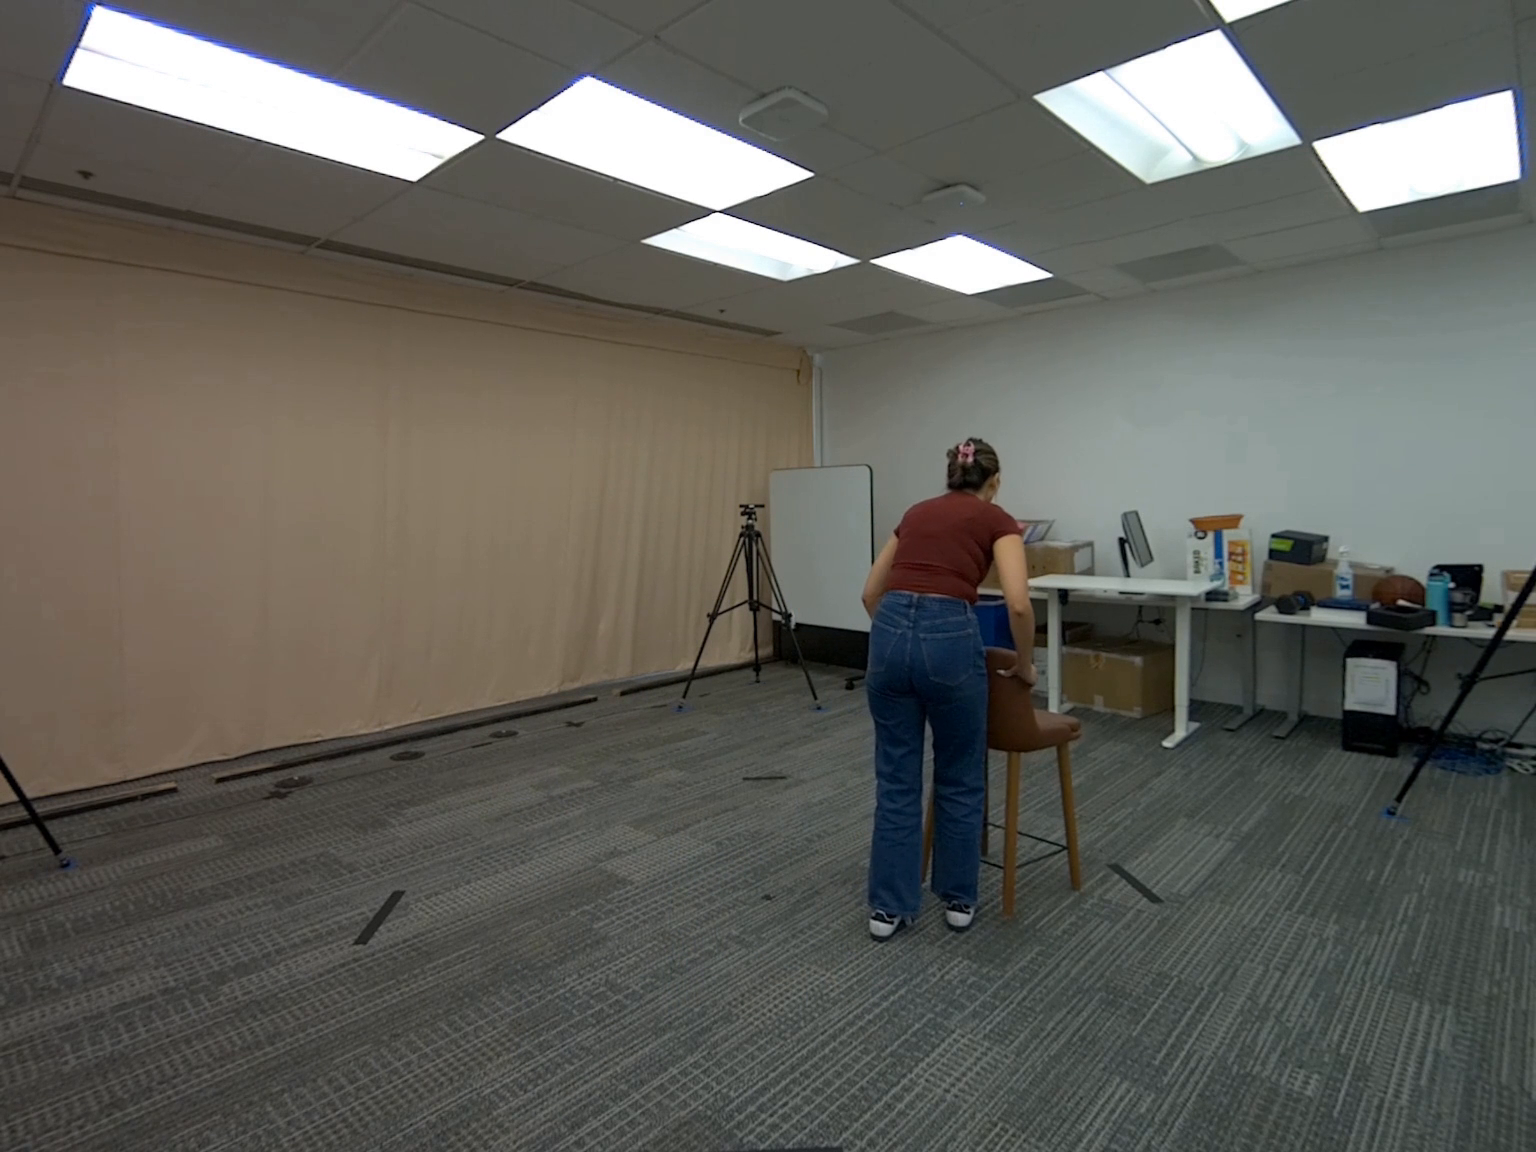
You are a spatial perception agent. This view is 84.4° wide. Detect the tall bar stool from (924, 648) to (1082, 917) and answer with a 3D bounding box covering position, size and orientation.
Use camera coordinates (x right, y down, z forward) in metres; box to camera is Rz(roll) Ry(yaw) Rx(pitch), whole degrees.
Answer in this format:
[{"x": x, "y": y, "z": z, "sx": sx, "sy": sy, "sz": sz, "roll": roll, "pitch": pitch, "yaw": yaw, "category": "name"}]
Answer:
[{"x": 0.828, "y": 0.669, "z": 3.020, "sx": 0.453, "sy": 0.888, "sz": 0.471, "roll": -3, "pitch": 3, "yaw": -41, "category": "tall bar stool"}]
